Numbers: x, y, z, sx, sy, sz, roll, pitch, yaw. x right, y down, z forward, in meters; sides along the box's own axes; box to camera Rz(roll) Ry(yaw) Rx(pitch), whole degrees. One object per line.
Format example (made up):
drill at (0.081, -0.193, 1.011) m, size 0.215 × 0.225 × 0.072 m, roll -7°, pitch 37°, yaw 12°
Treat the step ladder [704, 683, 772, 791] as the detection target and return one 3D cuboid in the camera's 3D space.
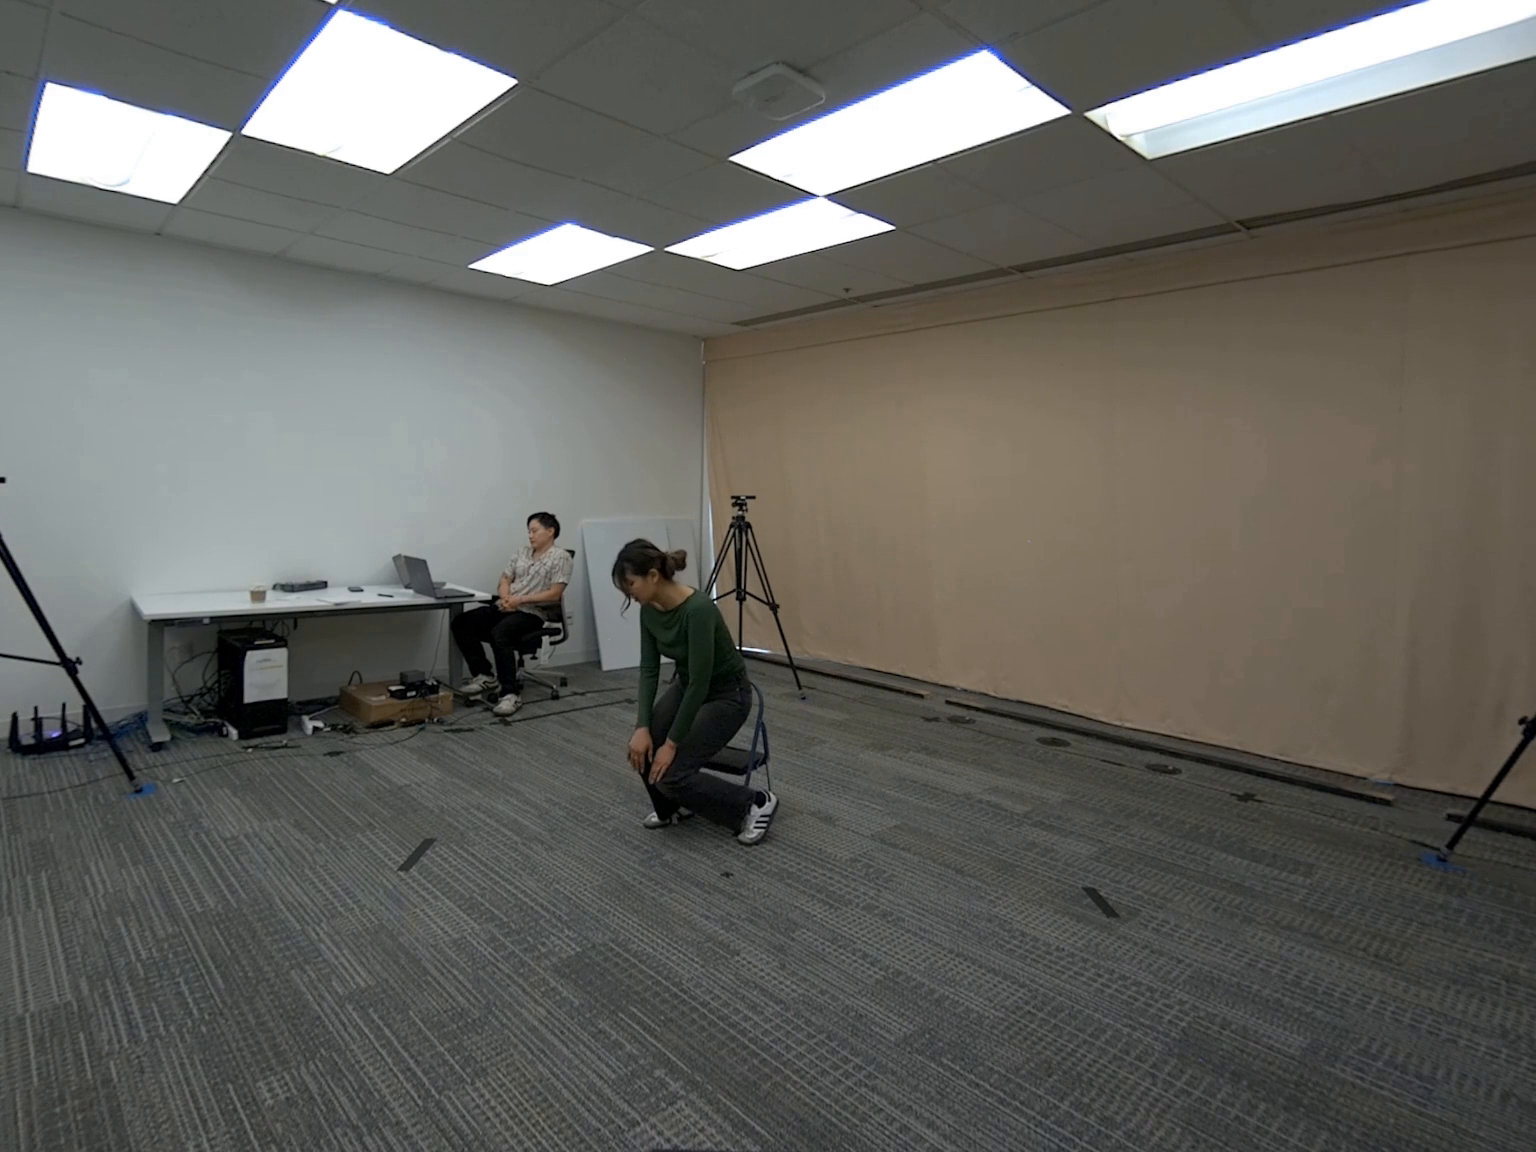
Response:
step ladder at (-0.224, 0.747, 3.696) m, size 0.440 × 0.604 × 0.342 m, roll 4°, pitch 4°, yaw 30°
